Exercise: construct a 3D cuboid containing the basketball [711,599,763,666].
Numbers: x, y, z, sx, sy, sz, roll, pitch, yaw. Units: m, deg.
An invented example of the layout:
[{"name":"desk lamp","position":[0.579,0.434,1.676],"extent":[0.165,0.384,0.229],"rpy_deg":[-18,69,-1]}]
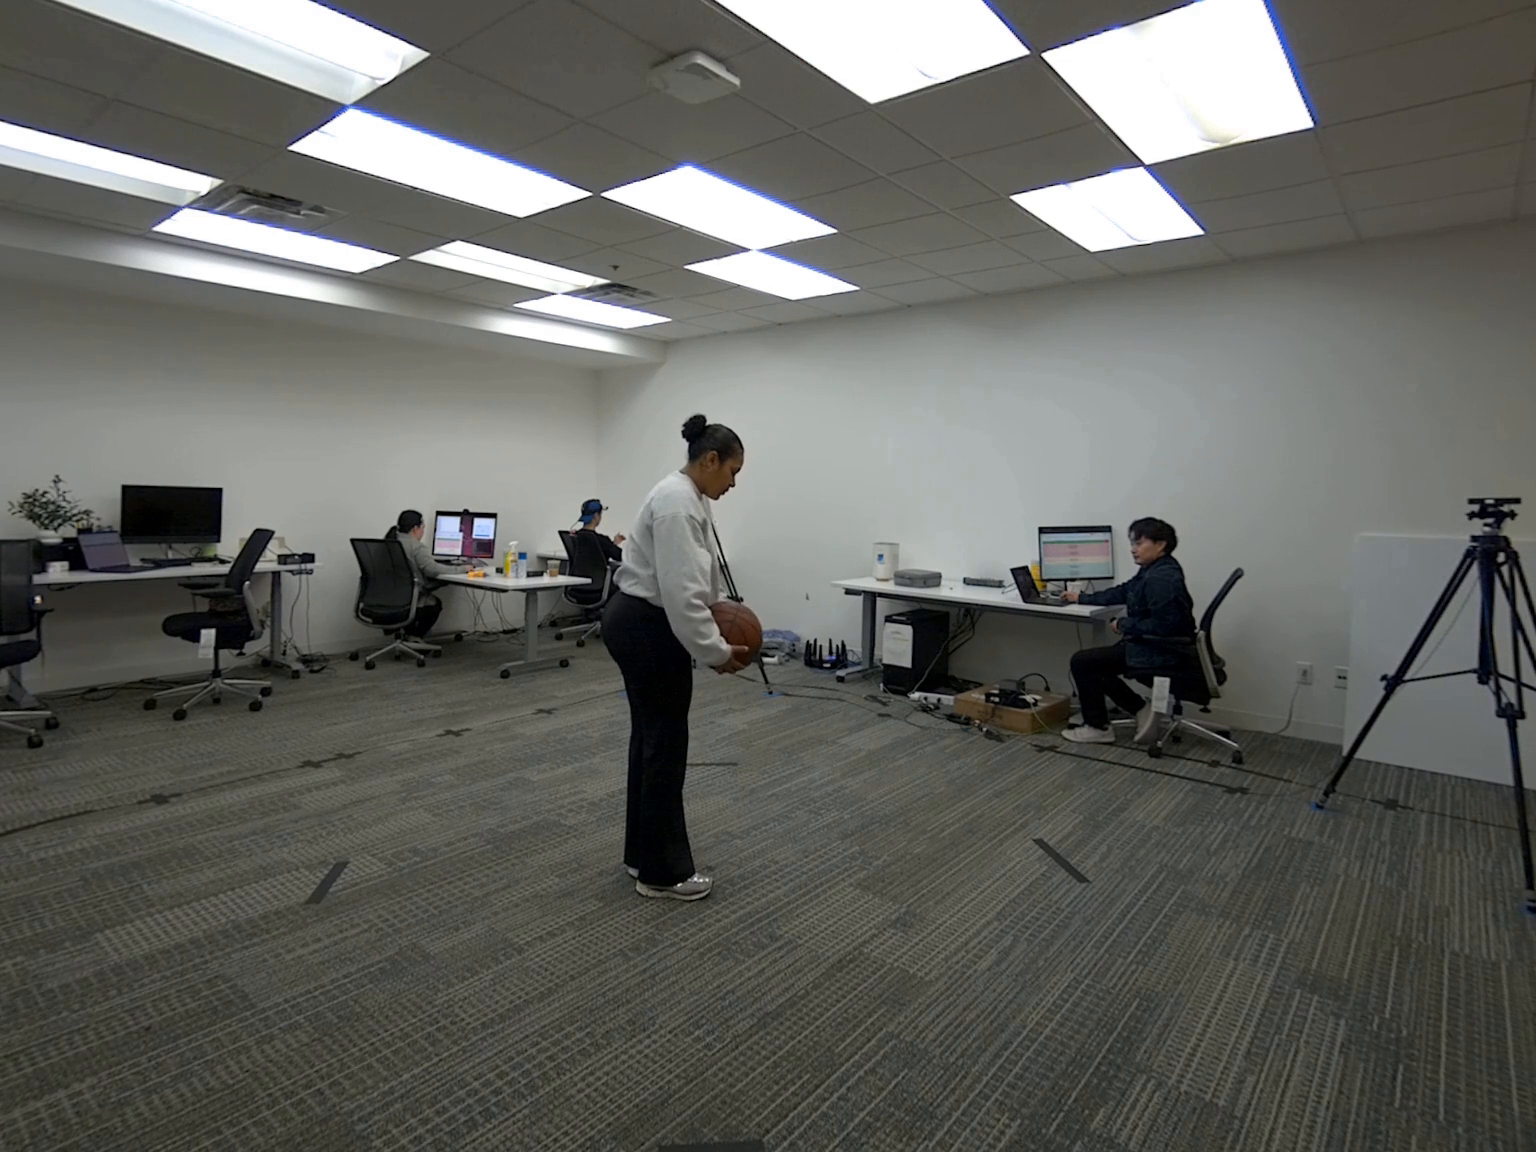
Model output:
[{"name":"basketball","position":[-0.156,0.189,2.868],"extent":[0.235,0.235,0.237],"rpy_deg":[1,4,-2]}]
